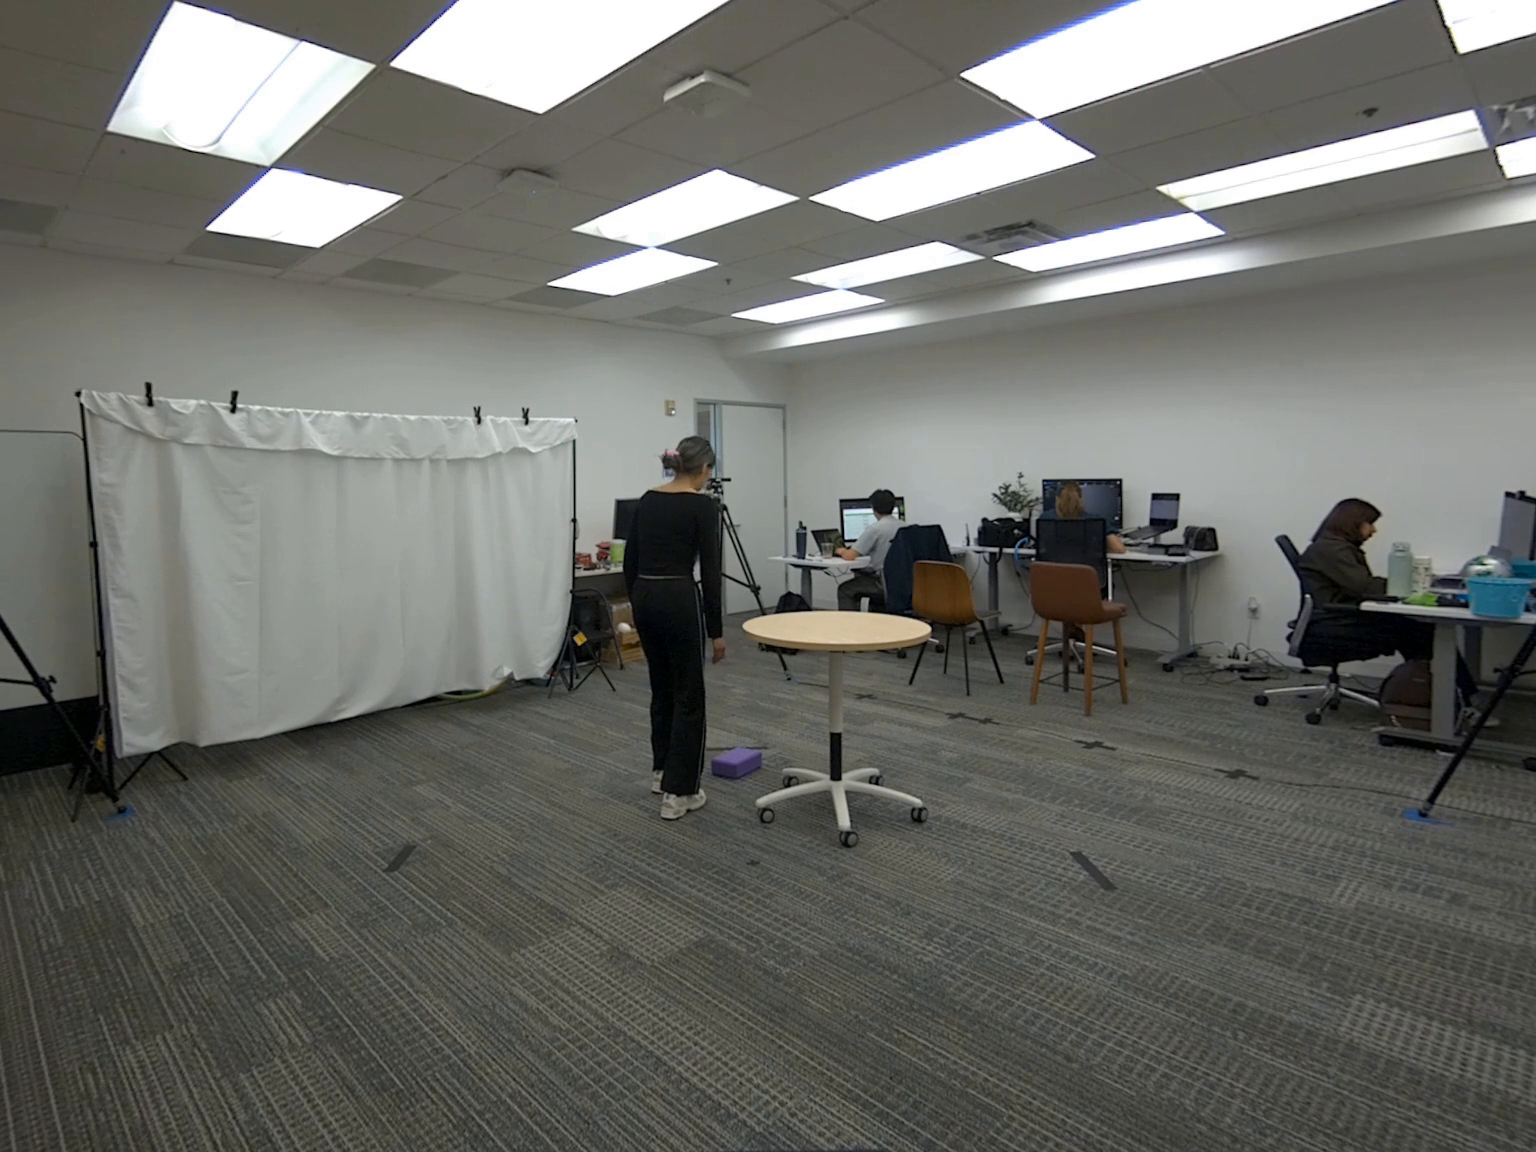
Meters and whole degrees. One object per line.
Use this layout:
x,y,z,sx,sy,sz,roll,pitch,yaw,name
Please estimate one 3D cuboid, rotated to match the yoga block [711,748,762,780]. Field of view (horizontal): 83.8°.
-0.148,0.892,4.097,0.153,0.076,0.224,2,6,35,yoga block
